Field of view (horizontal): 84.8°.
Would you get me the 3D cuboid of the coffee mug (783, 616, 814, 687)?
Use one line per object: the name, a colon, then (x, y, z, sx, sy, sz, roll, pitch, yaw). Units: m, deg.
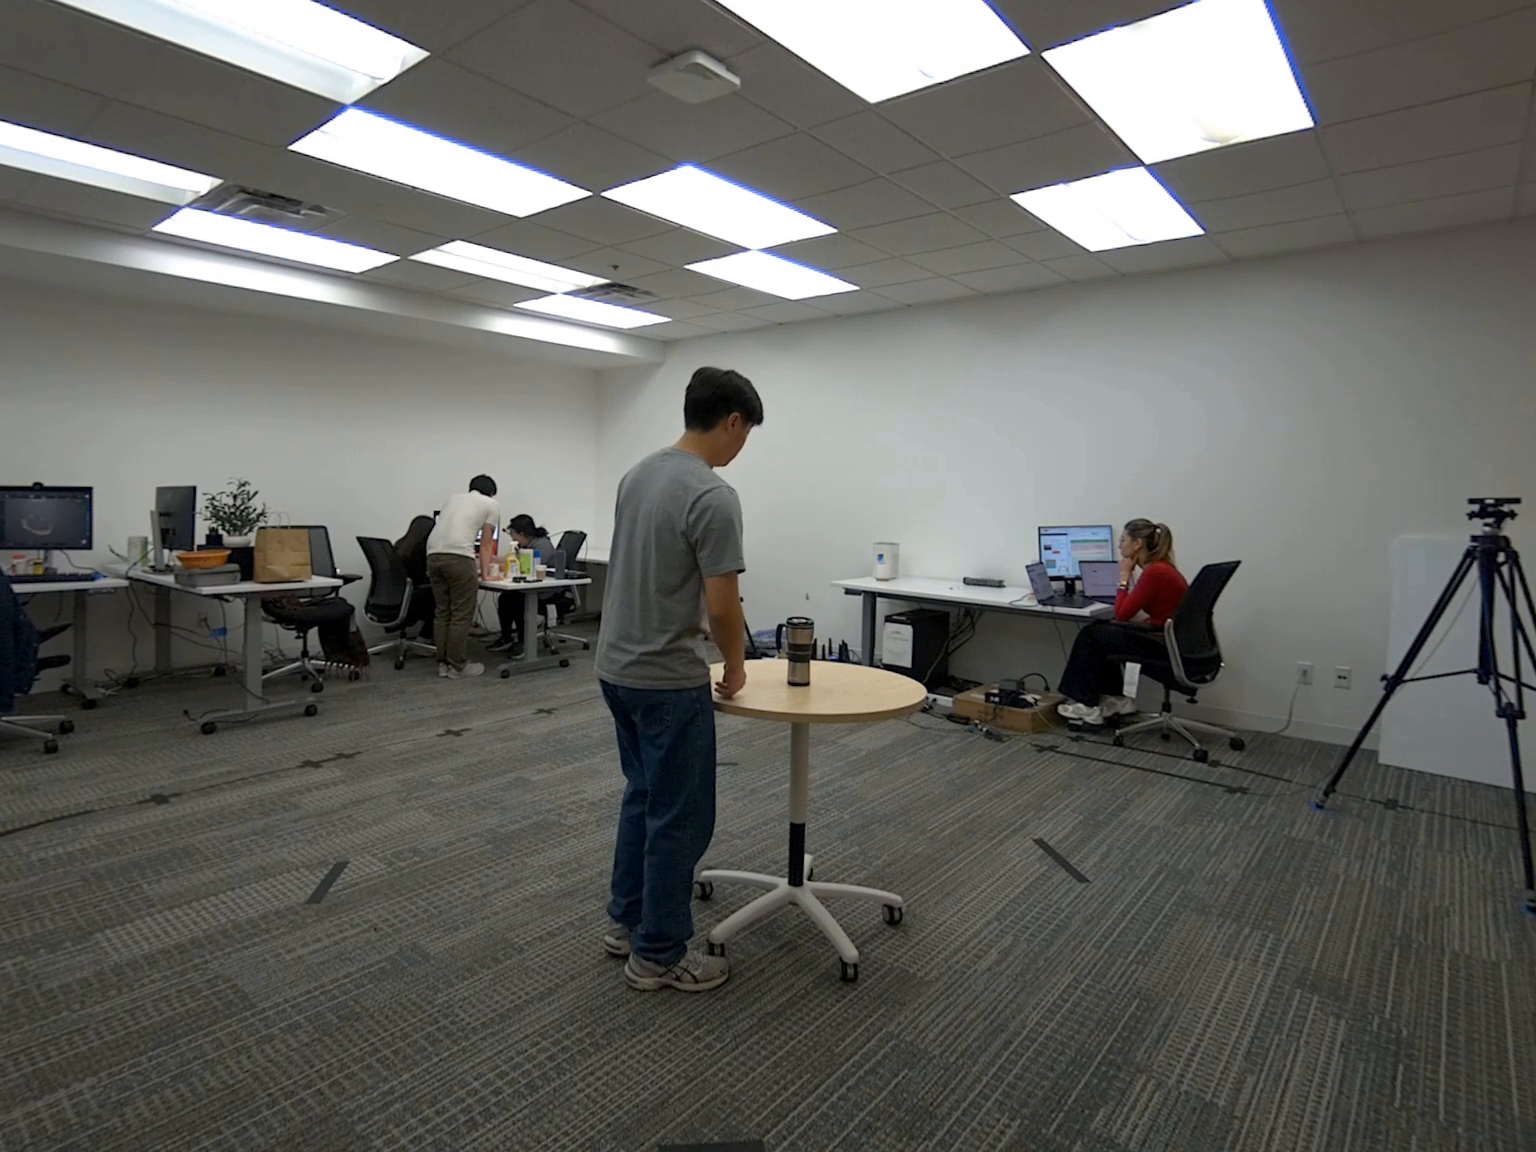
coffee mug: (0.078, 0.233, 2.657, 0.085, 0.201, 0.126, -5, 11, -38)
